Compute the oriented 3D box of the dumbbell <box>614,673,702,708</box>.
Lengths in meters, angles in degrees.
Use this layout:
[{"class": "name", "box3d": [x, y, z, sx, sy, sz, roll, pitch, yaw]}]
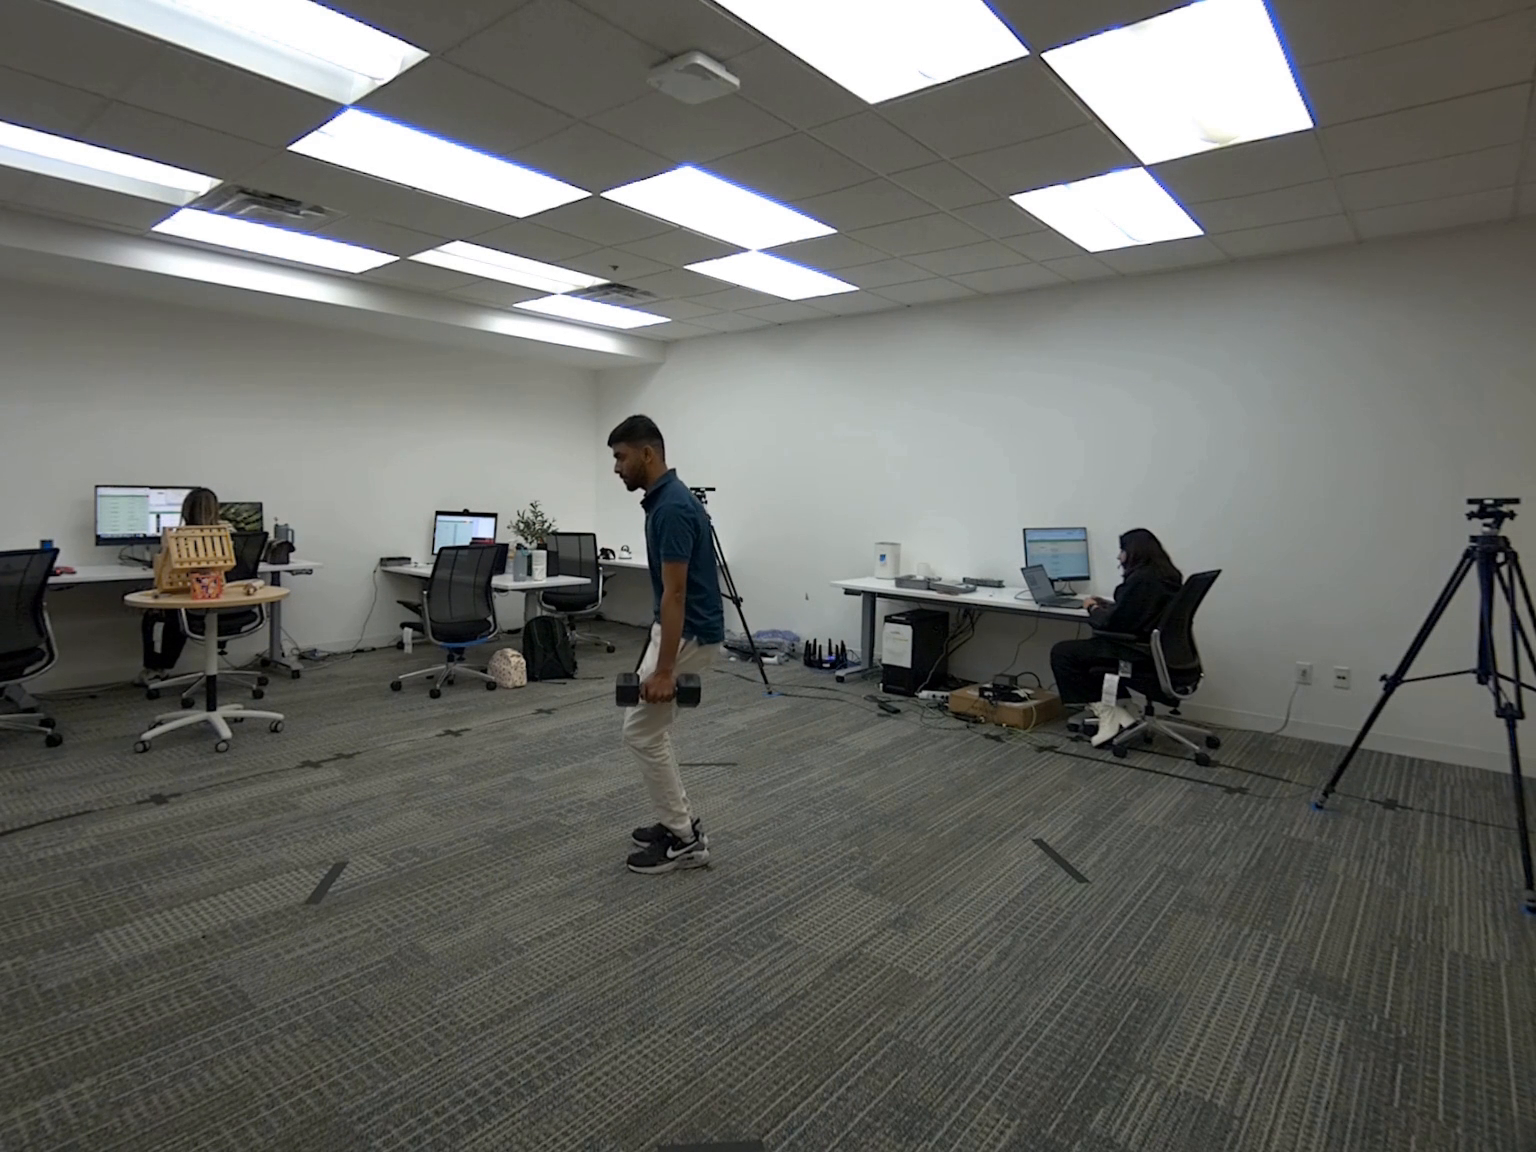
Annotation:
[{"class": "dumbbell", "box3d": [-0.395, 0.398, 2.960, 0.291, 0.122, 0.110, 1, 7, -9]}]
